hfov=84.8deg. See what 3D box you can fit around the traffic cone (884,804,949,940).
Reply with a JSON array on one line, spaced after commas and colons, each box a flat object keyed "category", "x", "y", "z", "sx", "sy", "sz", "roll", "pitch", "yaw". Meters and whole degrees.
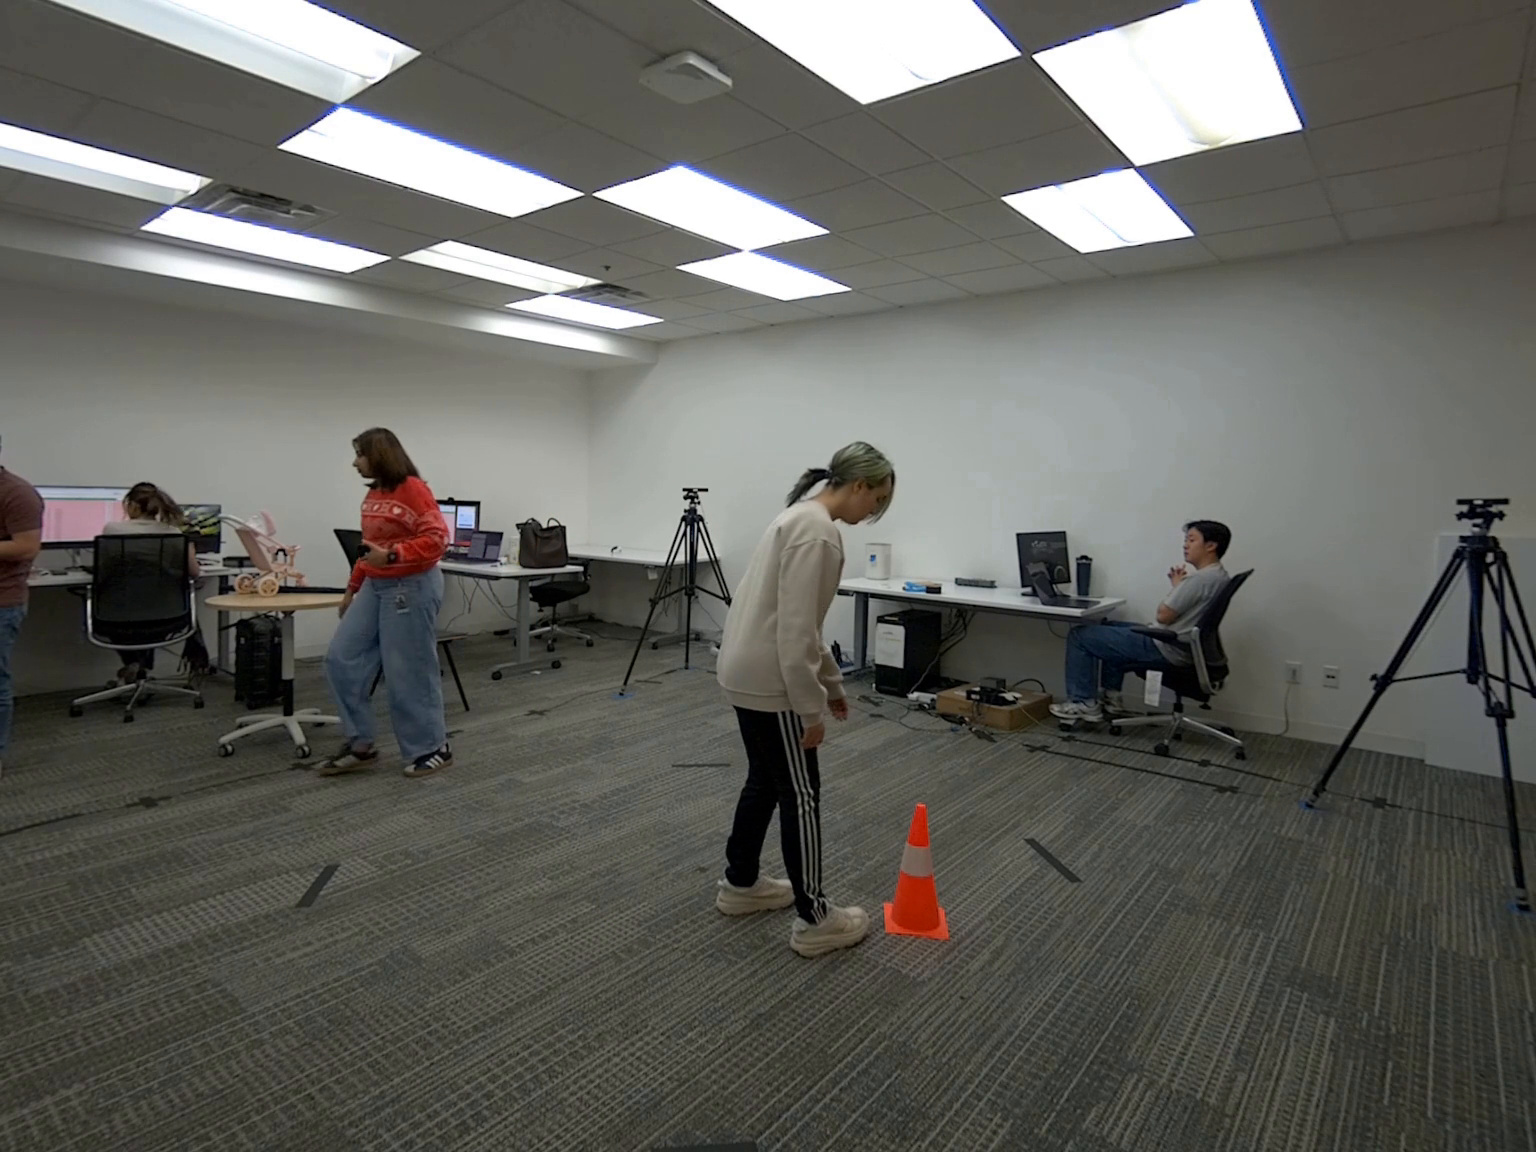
[{"category": "traffic cone", "x": 0.485, "y": 0.936, "z": 2.763, "sx": 0.207, "sy": 0.383, "sz": 0.202, "roll": 2, "pitch": 3, "yaw": 7}]
